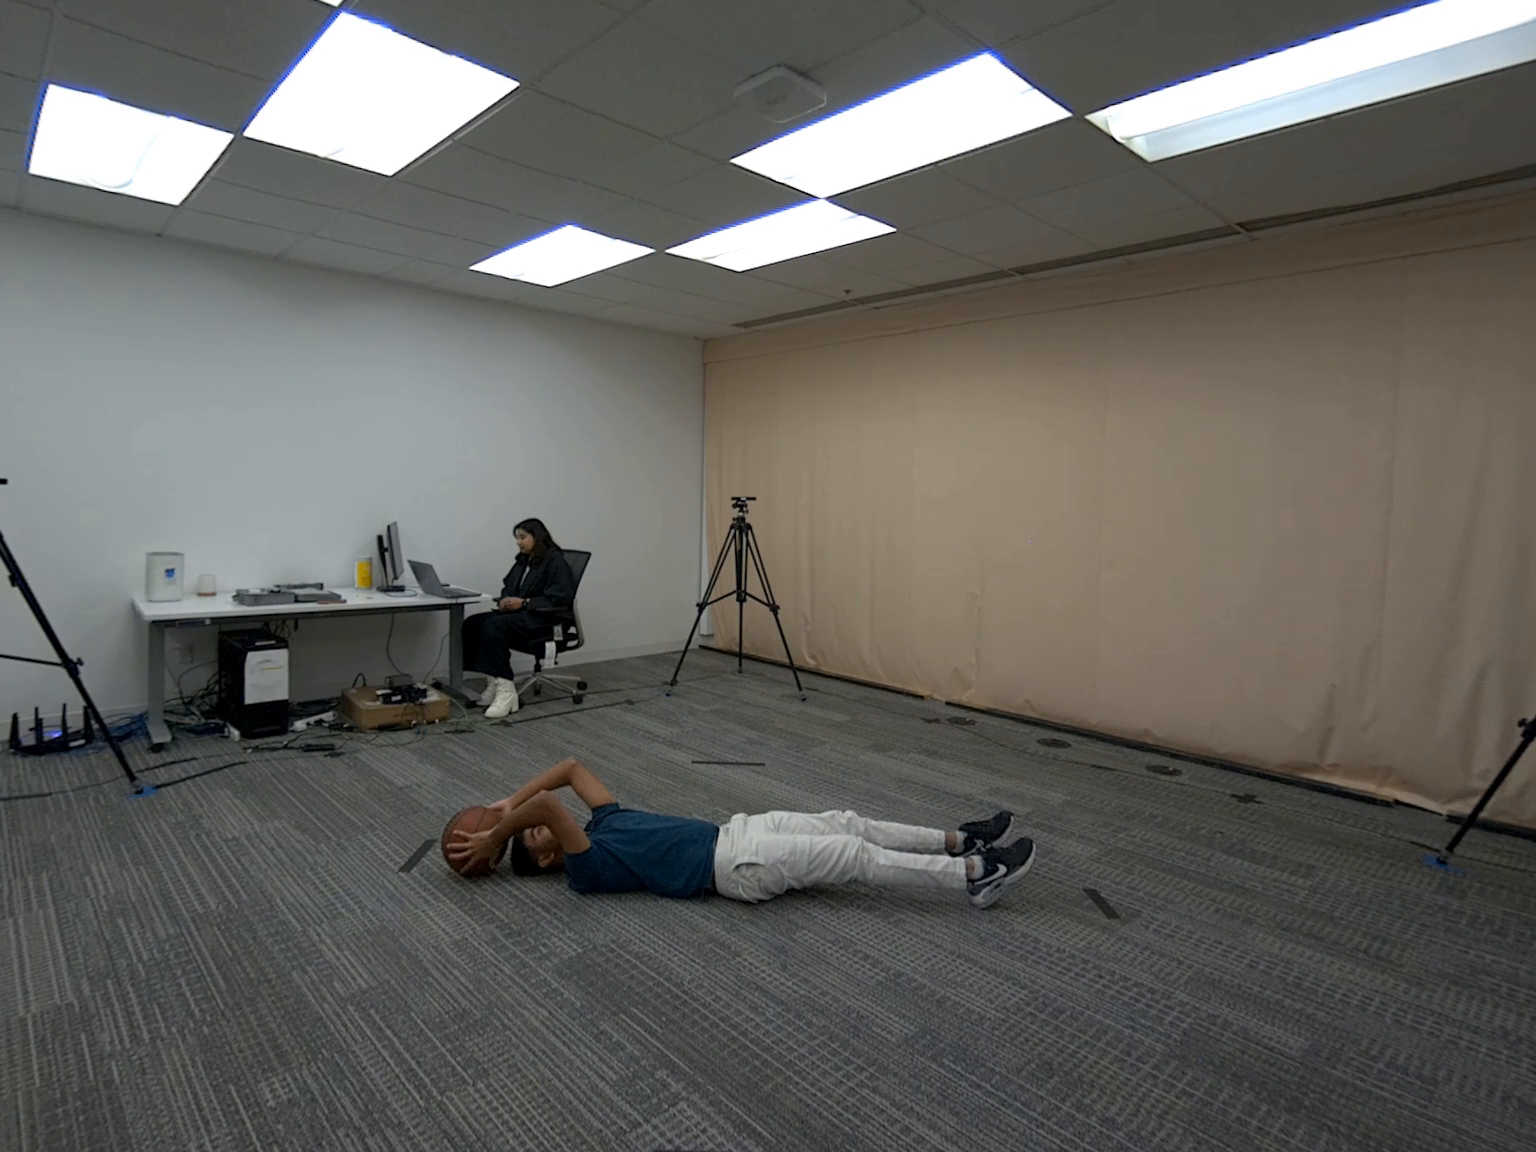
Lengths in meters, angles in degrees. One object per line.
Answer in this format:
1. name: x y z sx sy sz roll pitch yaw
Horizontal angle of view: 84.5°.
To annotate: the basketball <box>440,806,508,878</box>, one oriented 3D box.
1. basketball: -1.085 0.969 3.075 0.236 0.235 0.237 1 4 -1
